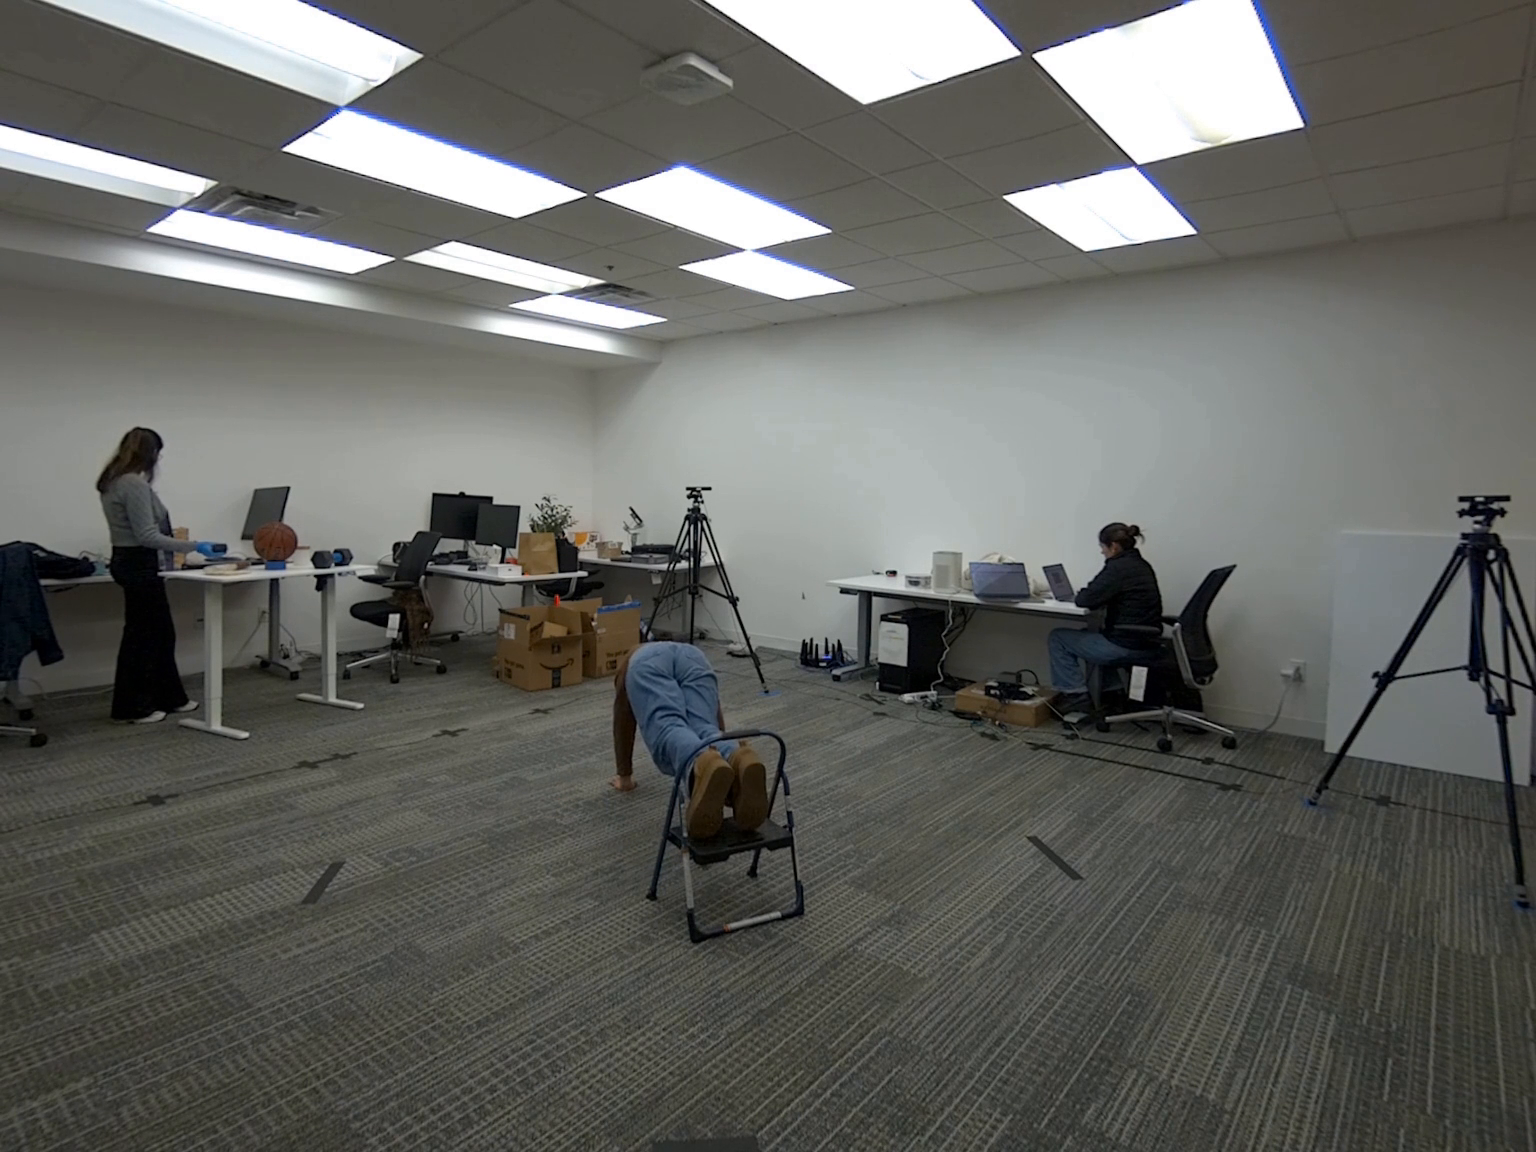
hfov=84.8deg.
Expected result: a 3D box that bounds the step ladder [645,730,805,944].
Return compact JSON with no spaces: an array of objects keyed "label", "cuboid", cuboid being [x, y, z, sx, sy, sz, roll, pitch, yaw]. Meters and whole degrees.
[{"label":"step ladder","cuboid":[-0.147,0.795,2.819,0.419,0.605,0.360,-1,3,-31]}]
